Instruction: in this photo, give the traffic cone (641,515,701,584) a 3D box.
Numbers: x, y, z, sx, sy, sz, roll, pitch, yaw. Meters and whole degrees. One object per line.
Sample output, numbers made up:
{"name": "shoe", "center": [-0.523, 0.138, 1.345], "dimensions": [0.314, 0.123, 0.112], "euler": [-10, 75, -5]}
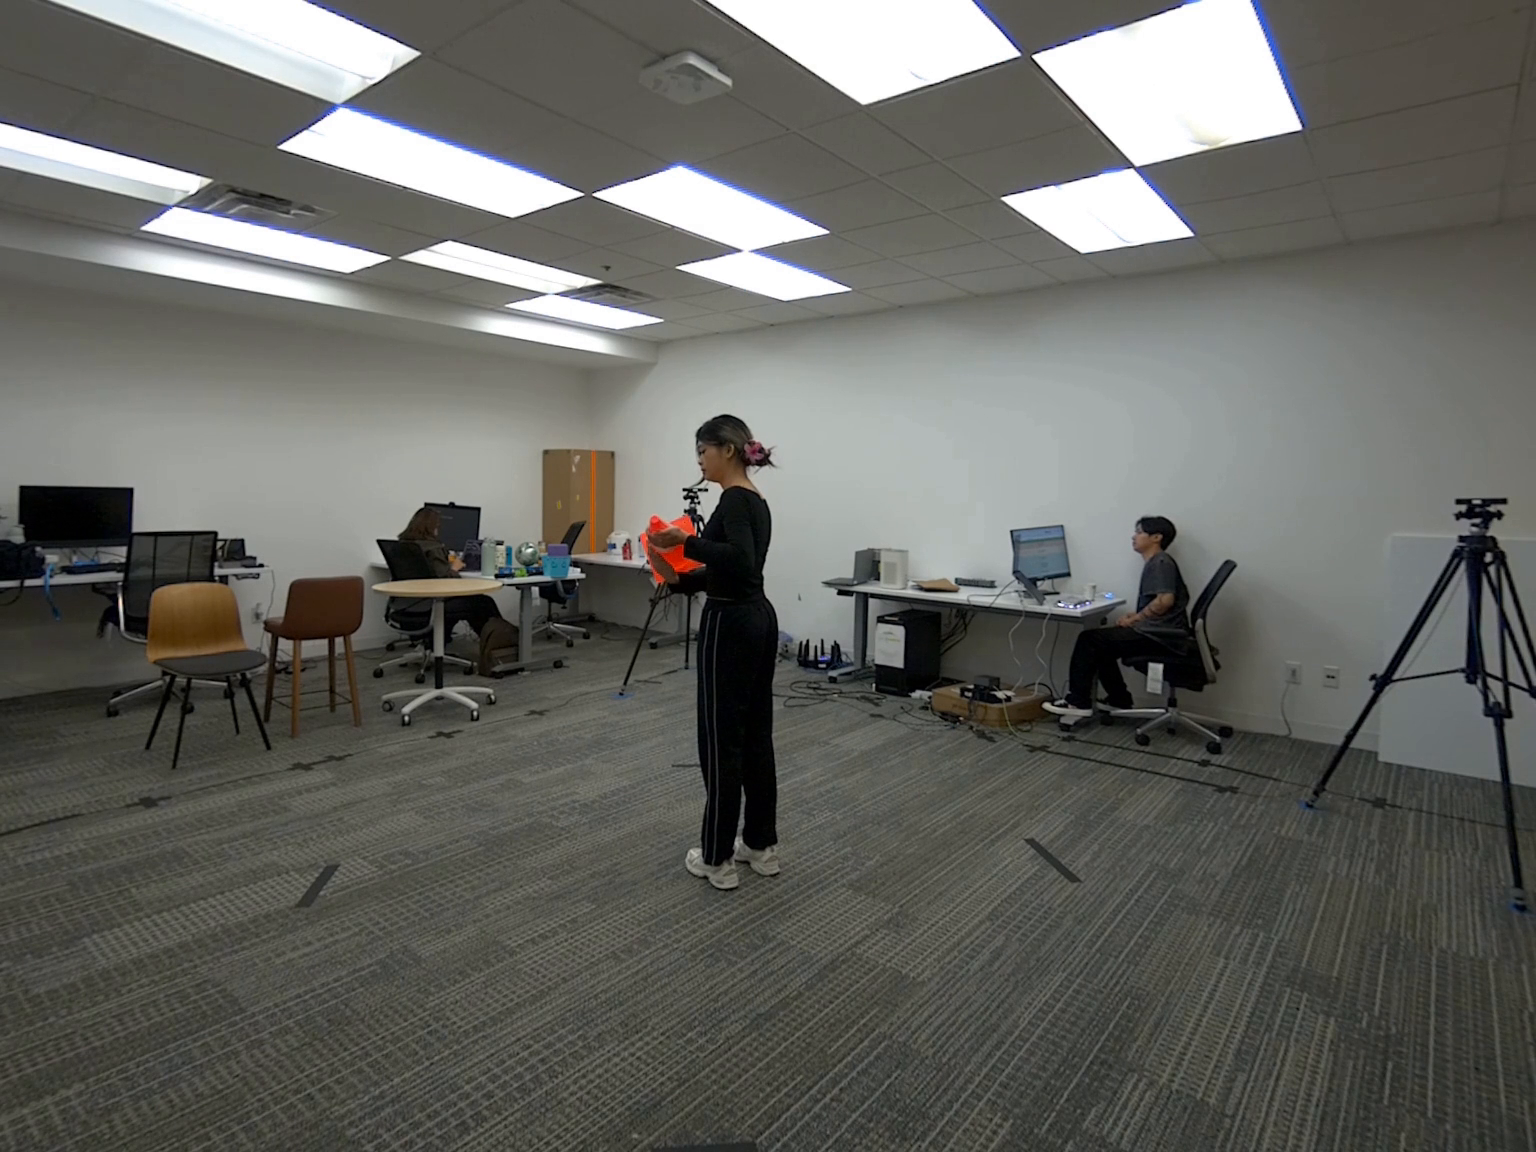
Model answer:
{"name": "traffic cone", "center": [-0.369, -0.139, 2.918], "dimensions": [0.205, 0.207, 0.377], "euler": [-21, -13, -2]}
